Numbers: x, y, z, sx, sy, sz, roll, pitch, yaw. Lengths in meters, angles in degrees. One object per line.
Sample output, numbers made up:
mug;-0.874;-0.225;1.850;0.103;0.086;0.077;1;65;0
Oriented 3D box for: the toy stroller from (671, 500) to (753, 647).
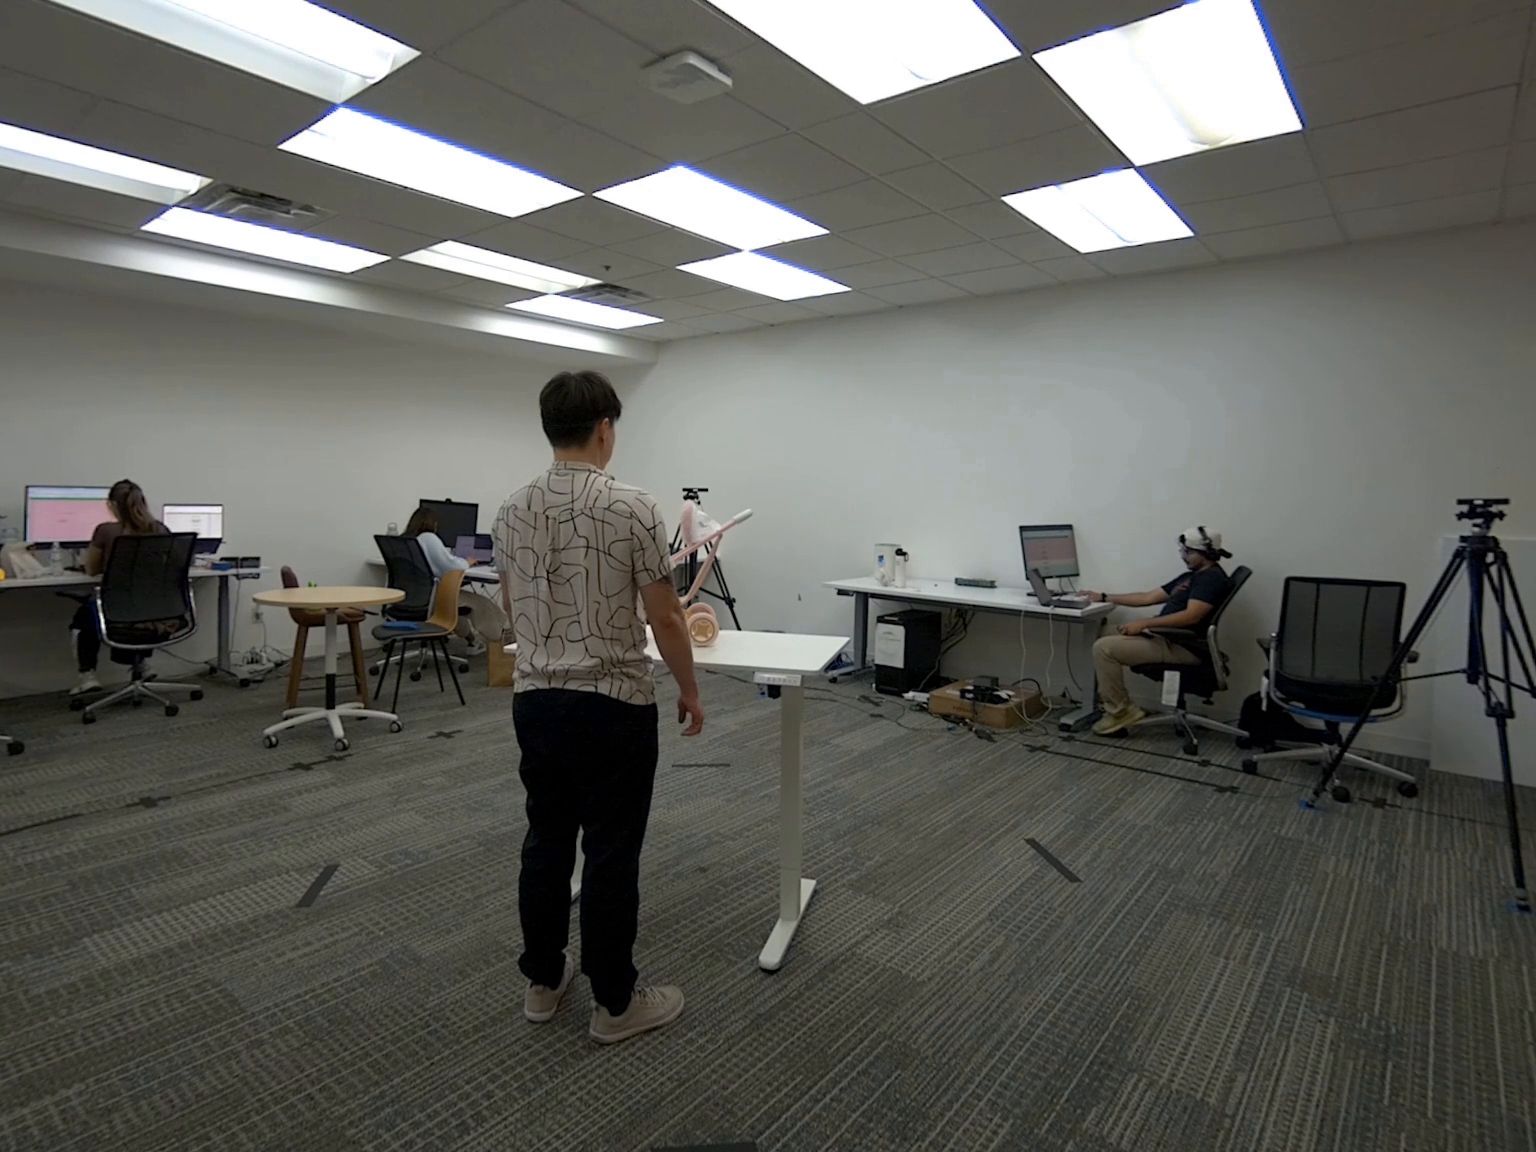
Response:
toy stroller;-0.304;-0.016;2.843;0.341;0.534;0.282;16;1;-2
